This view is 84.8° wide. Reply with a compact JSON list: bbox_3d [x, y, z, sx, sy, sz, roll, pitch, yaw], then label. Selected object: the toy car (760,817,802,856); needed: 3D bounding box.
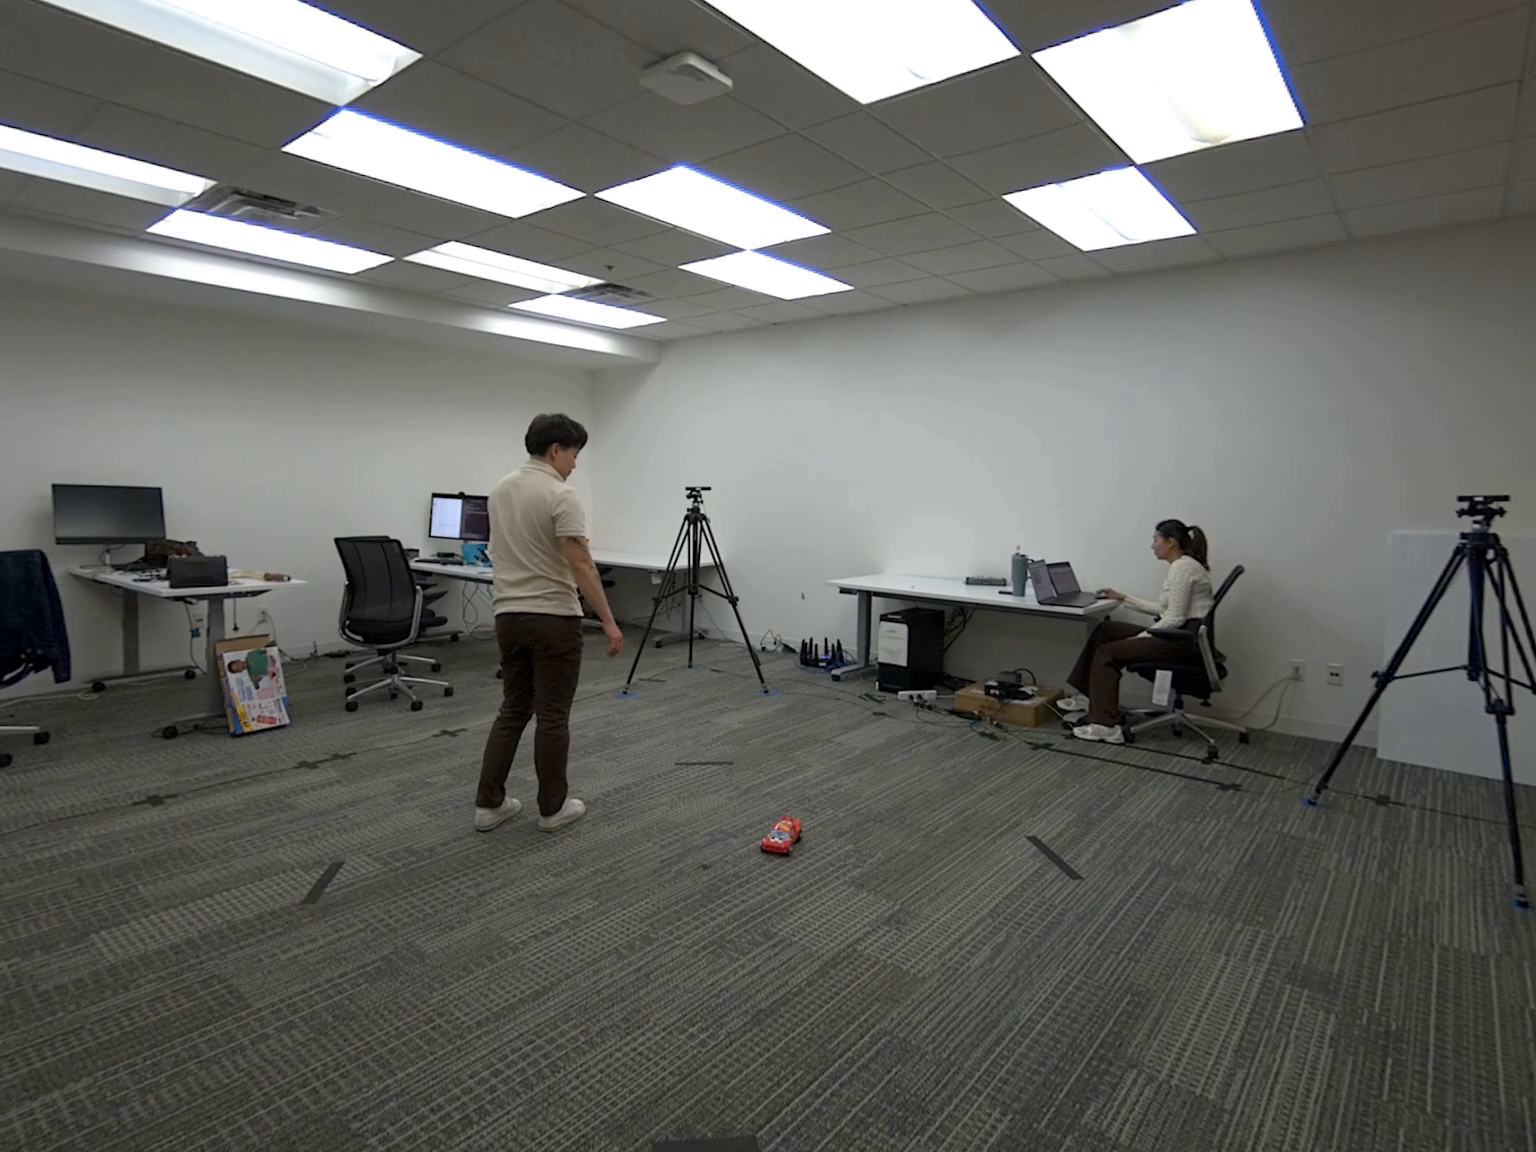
[{"bbox_3d":[0.050,1.013,3.332,0.133,0.082,0.253,2,16,18],"label":"toy car"}]
